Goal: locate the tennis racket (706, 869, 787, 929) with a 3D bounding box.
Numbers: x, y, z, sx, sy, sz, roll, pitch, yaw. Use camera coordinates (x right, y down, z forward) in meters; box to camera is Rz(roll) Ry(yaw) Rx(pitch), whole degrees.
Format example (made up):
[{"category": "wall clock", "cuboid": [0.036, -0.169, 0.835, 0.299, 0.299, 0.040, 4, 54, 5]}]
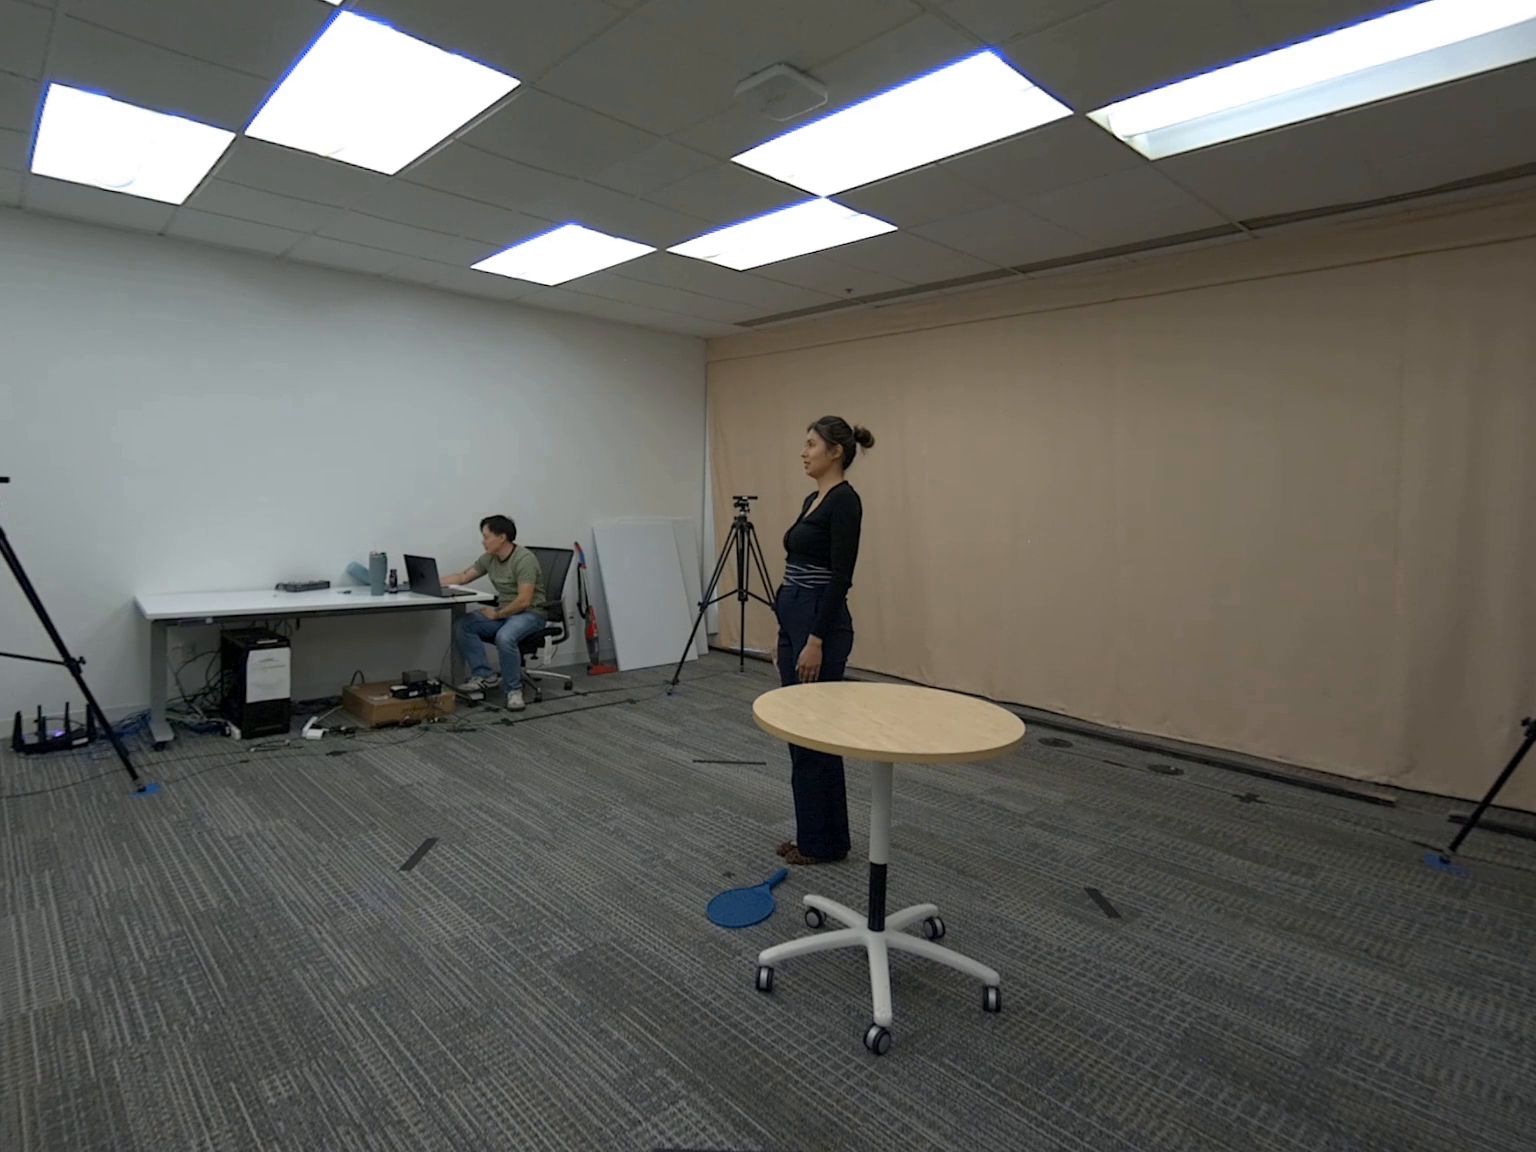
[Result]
[{"category": "tennis racket", "cuboid": [-0.058, 1.107, 2.910, 0.218, 0.031, 0.425, 5, 8, 29]}]
